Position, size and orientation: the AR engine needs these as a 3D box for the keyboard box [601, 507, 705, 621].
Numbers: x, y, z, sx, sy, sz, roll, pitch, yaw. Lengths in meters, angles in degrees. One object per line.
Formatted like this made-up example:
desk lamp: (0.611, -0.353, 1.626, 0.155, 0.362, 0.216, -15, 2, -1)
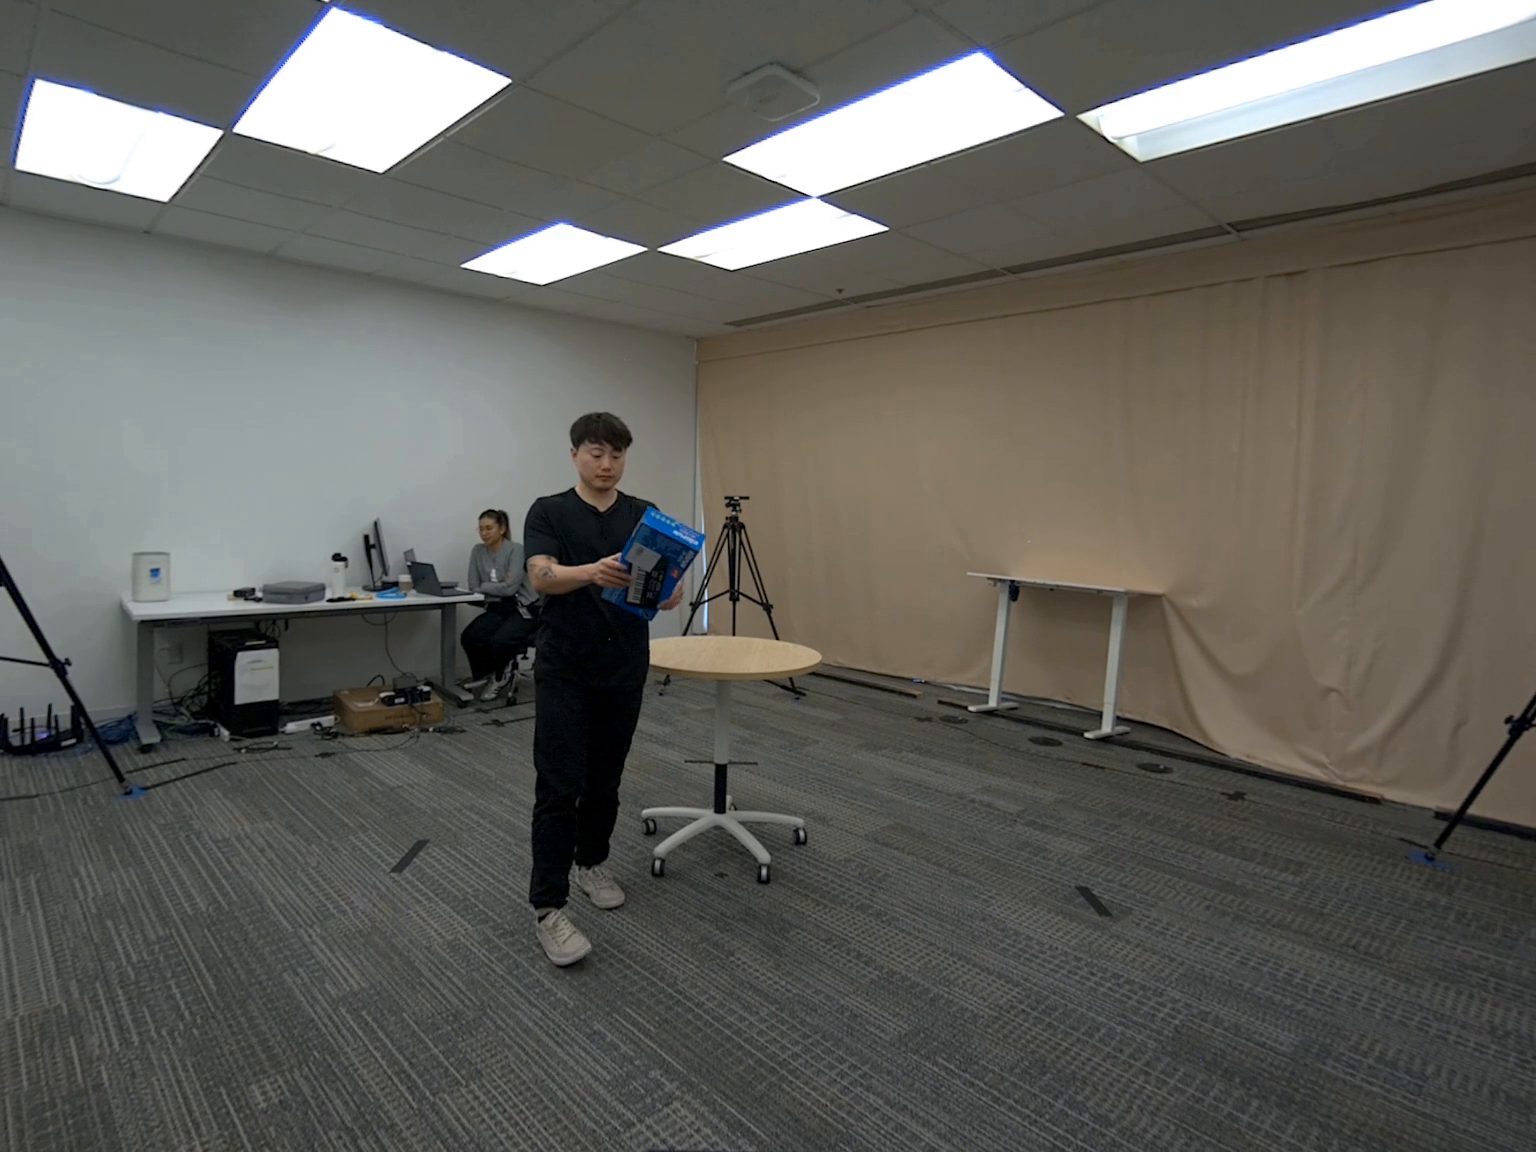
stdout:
keyboard box: (-0.339, -0.019, 2.365, 0.174, 0.060, 0.435, 28, -38, -8)
